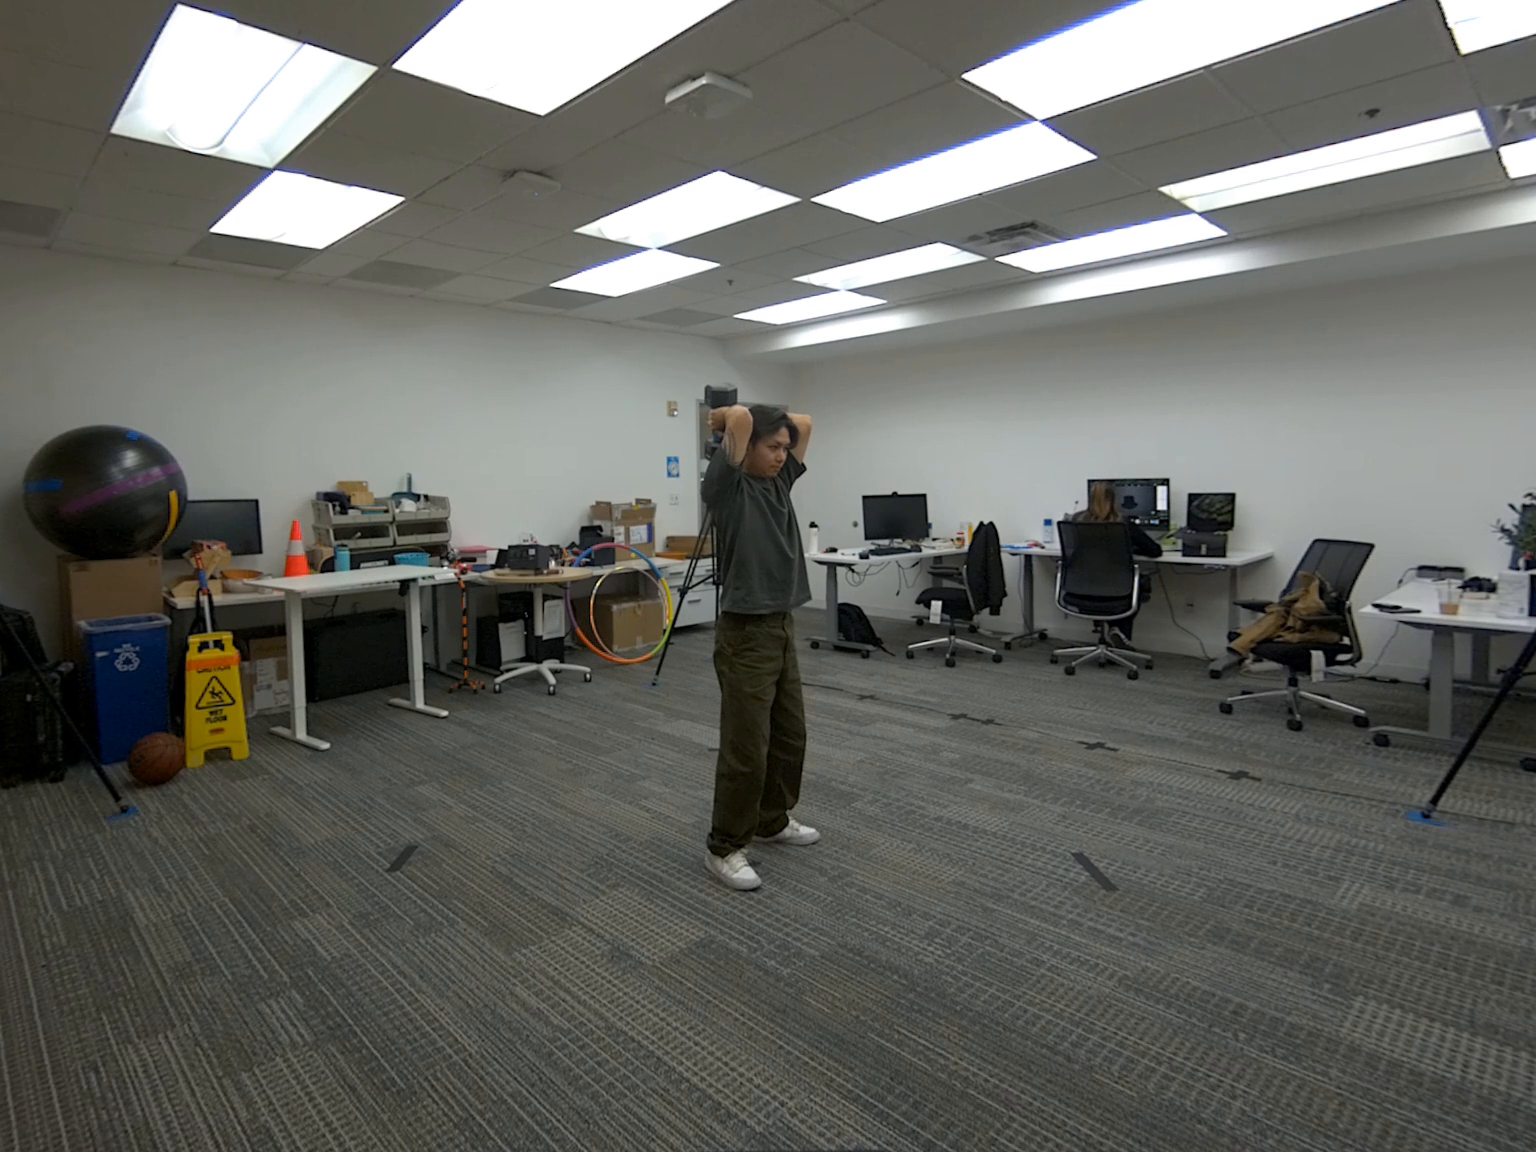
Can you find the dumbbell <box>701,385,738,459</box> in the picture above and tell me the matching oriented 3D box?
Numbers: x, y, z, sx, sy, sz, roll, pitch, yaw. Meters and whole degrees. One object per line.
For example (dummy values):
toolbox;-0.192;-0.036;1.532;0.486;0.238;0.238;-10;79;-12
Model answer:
dumbbell;-0.170;-0.582;3.207;0.107;0.288;0.127;-8;26;-22
